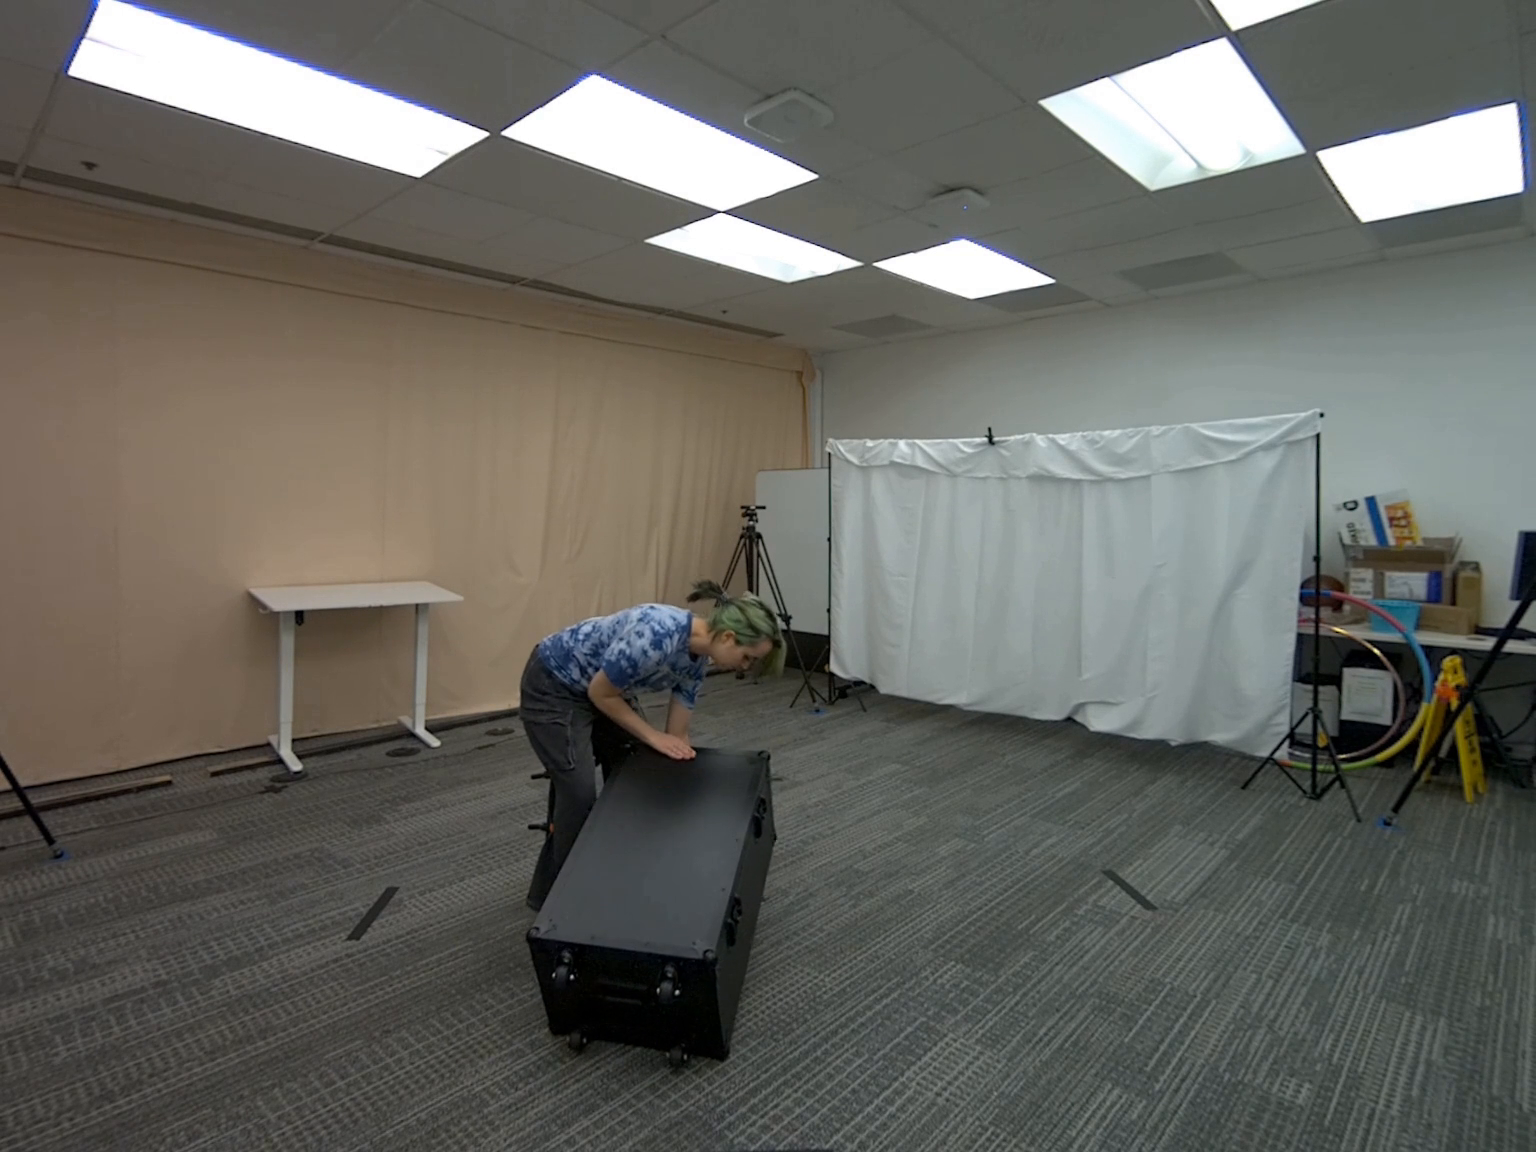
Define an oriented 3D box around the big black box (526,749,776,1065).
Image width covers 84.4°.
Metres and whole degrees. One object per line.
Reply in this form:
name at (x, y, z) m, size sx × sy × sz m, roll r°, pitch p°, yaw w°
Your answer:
big black box at (-0.284, 0.904, 2.412) m, size 0.528 × 0.390 × 0.863 m, roll 0°, pitch 25°, yaw 11°
